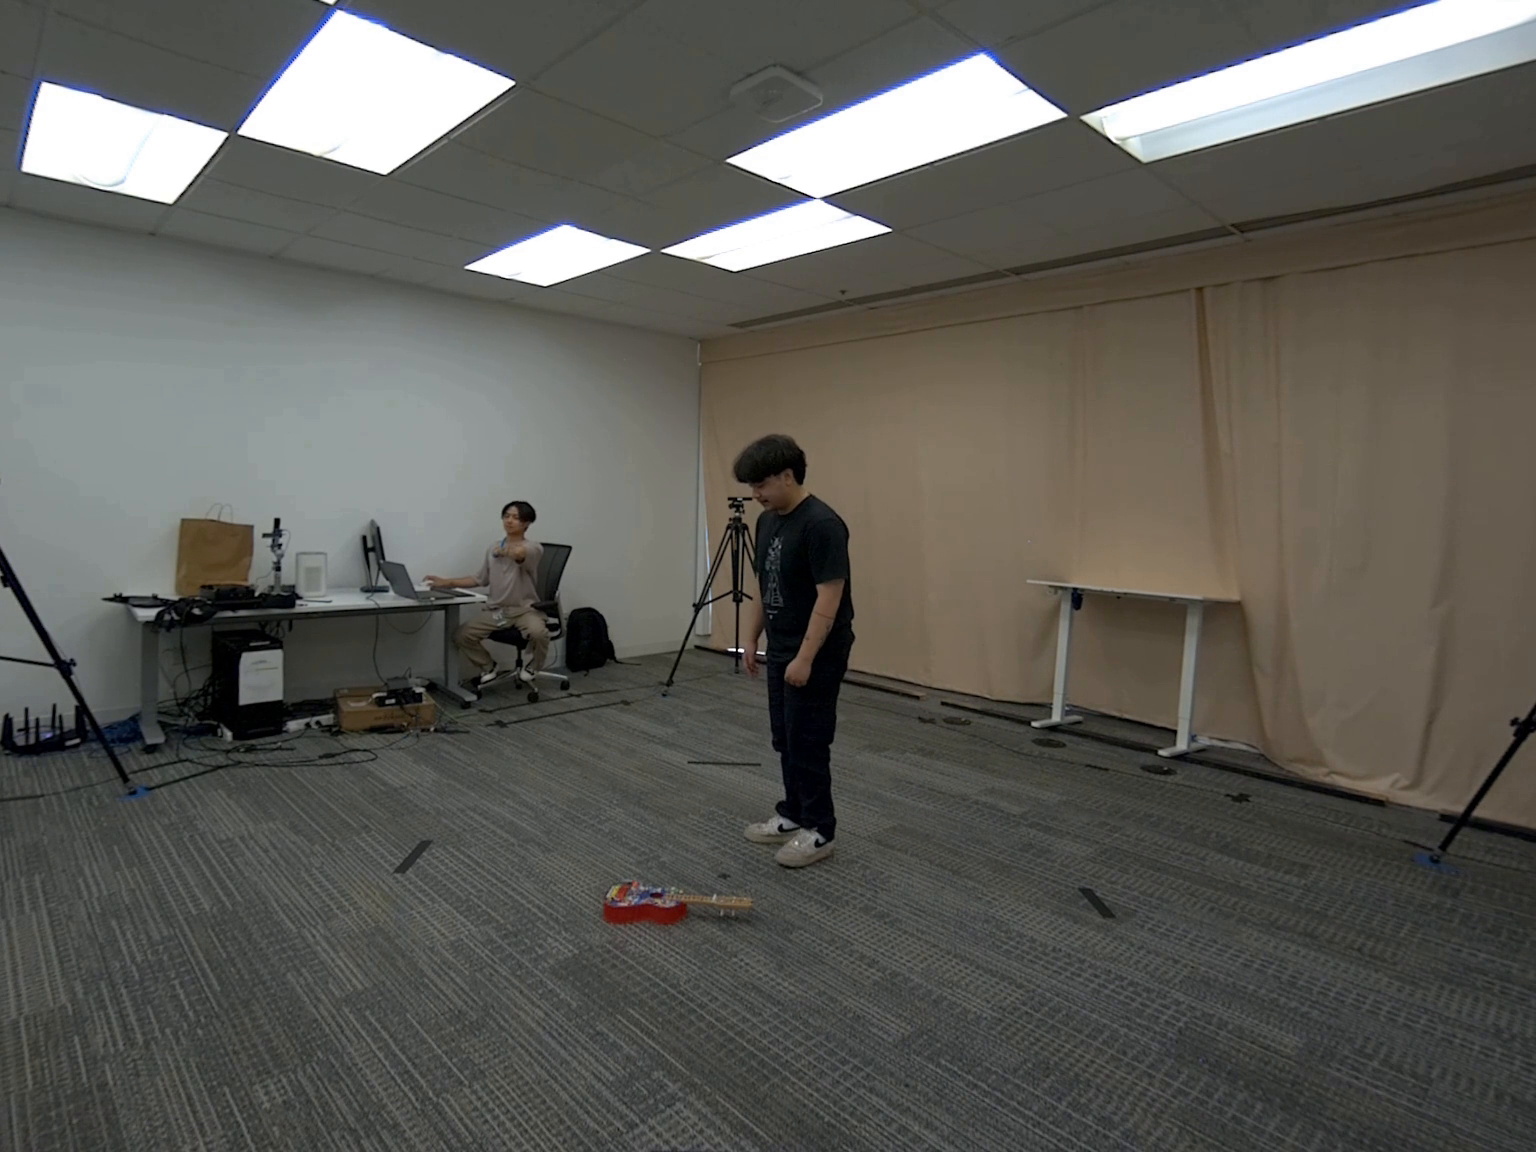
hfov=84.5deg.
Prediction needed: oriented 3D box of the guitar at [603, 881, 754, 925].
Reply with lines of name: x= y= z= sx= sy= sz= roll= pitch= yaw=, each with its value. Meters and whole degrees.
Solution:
guitar: x=-0.311 y=1.099 z=2.779 sx=0.504 sy=0.070 sz=0.191 roll=2 pitch=5 yaw=15
